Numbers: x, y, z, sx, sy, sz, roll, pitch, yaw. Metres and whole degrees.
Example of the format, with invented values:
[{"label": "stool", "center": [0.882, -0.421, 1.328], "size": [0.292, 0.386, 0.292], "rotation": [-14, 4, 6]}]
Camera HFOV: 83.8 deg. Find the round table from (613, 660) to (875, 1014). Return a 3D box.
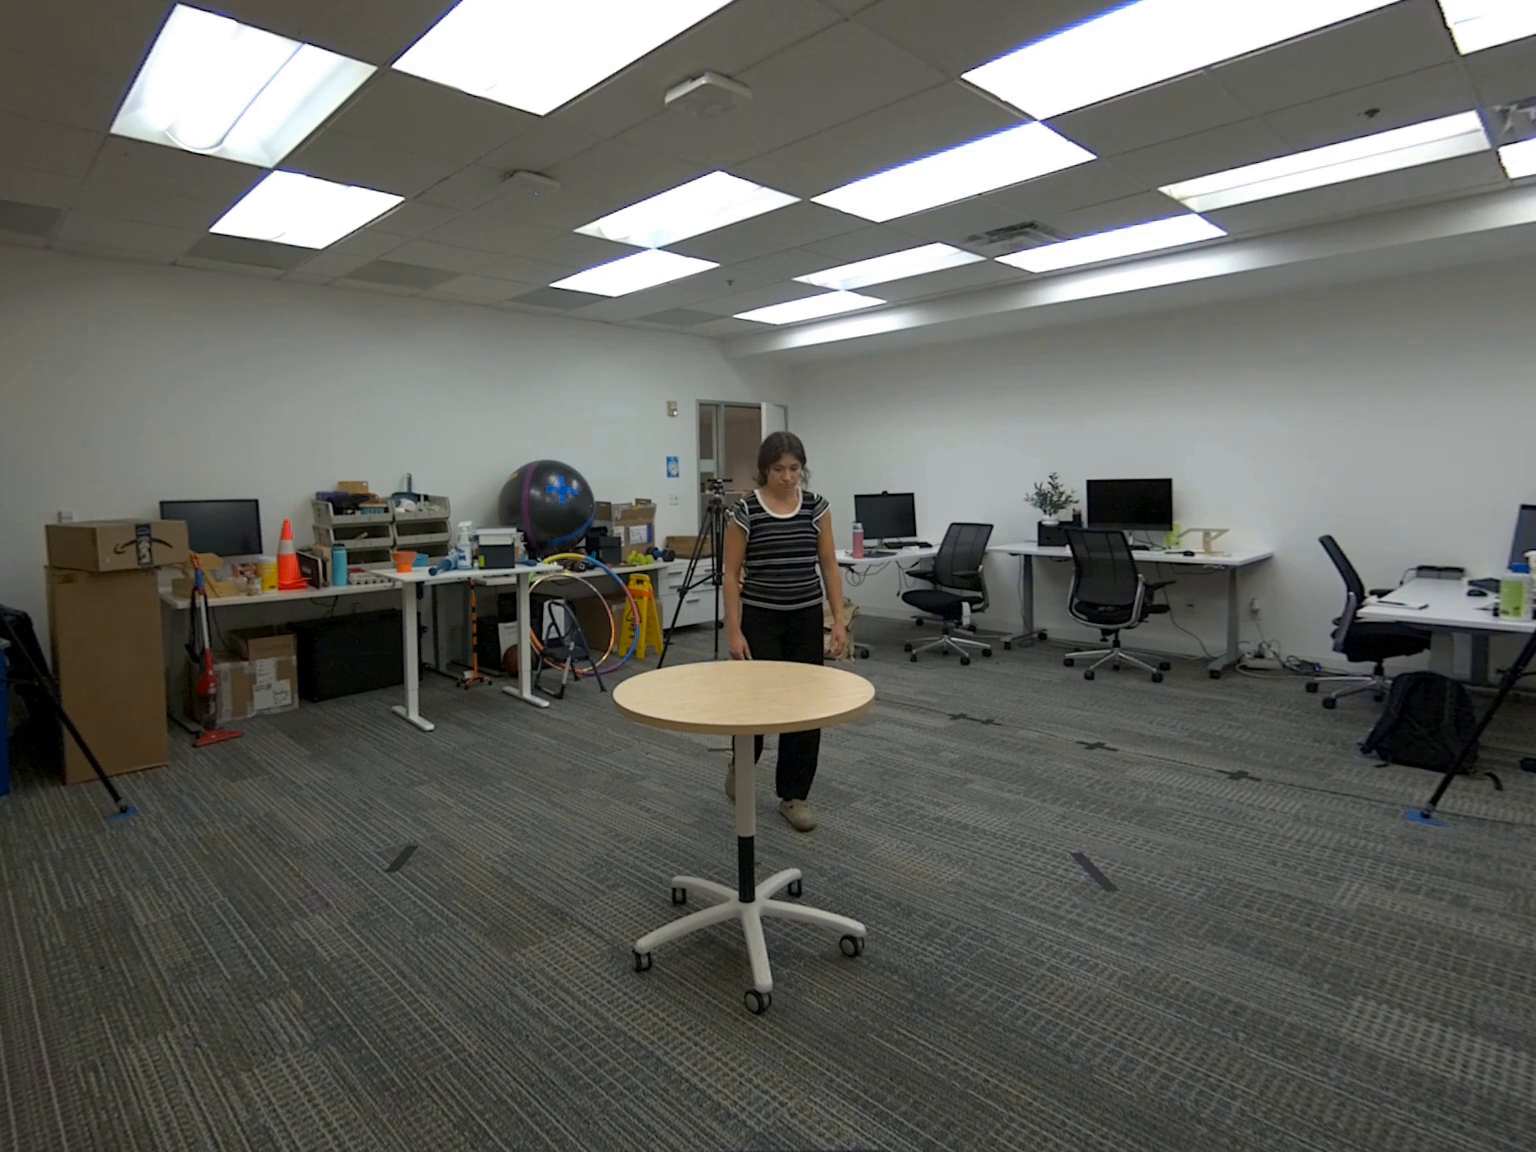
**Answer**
[{"label": "round table", "center": [-0.064, 0.726, 2.540], "size": [0.763, 0.791, 0.768], "rotation": [-1, 5, -2]}]
